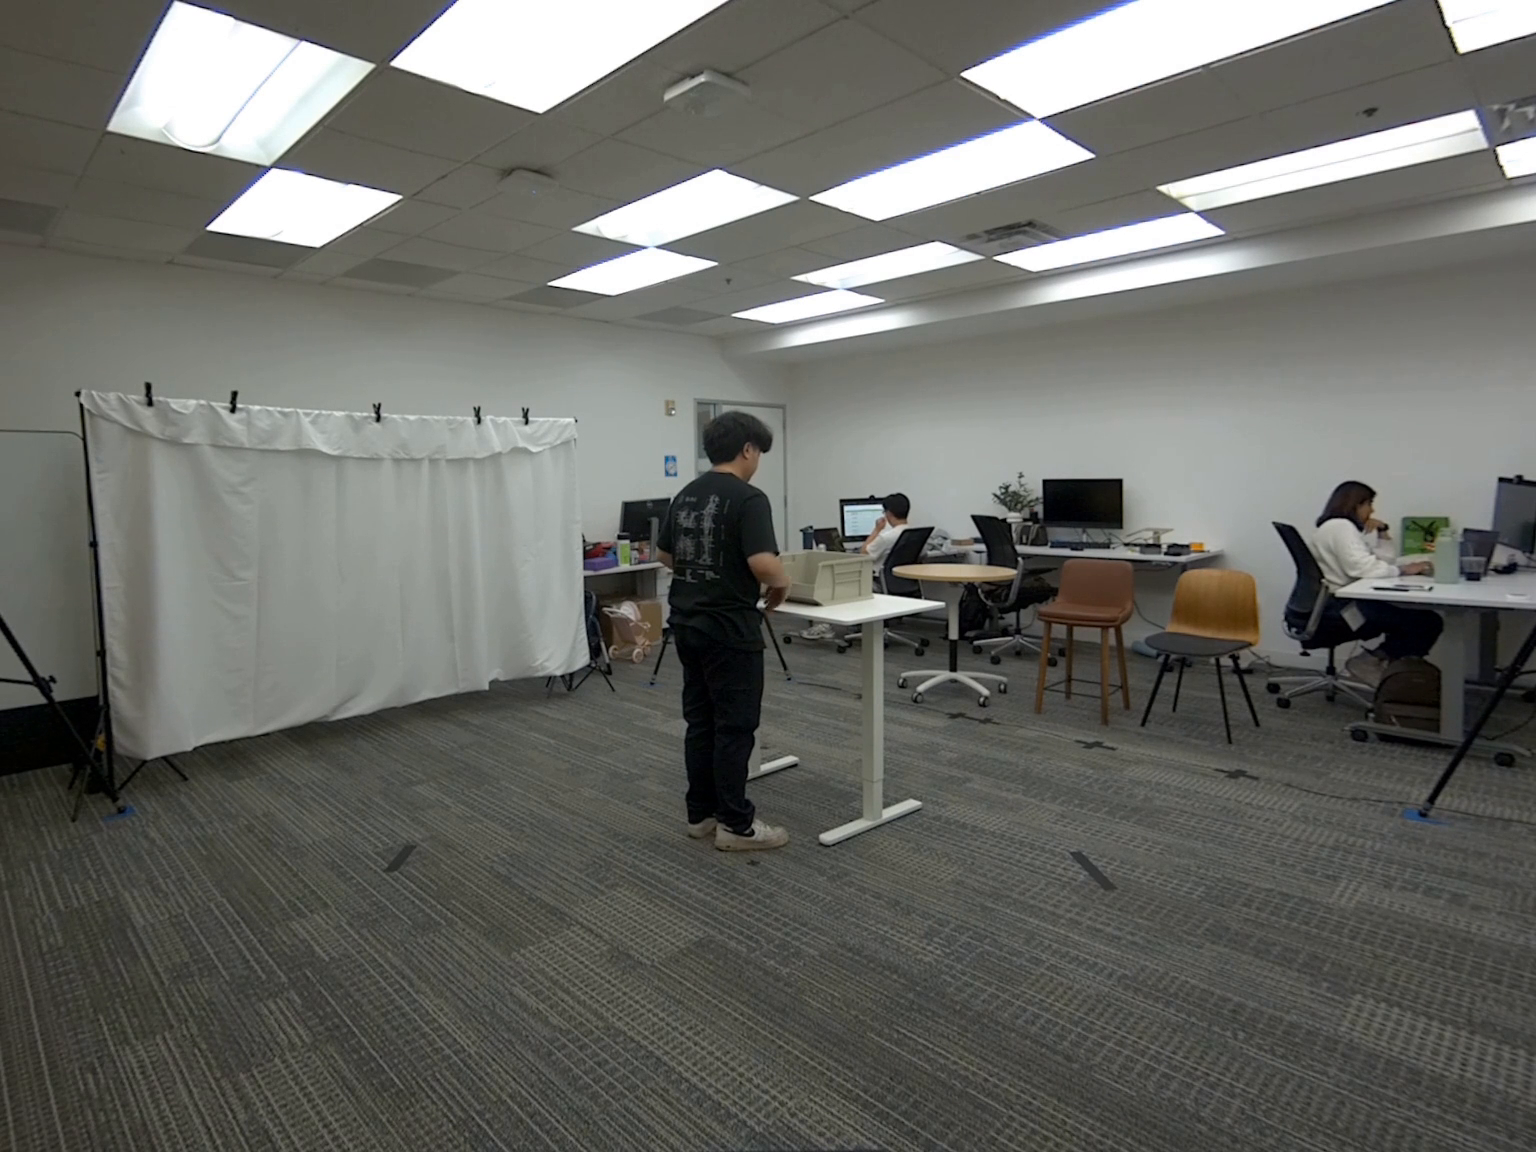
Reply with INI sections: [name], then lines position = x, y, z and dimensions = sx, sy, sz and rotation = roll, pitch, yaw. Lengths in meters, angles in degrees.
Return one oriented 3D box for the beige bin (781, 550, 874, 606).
[beige bin]
position = 0.185, 0.006, 3.646
dimensions = 0.367, 0.188, 0.435
rotation = -5, 7, -40
